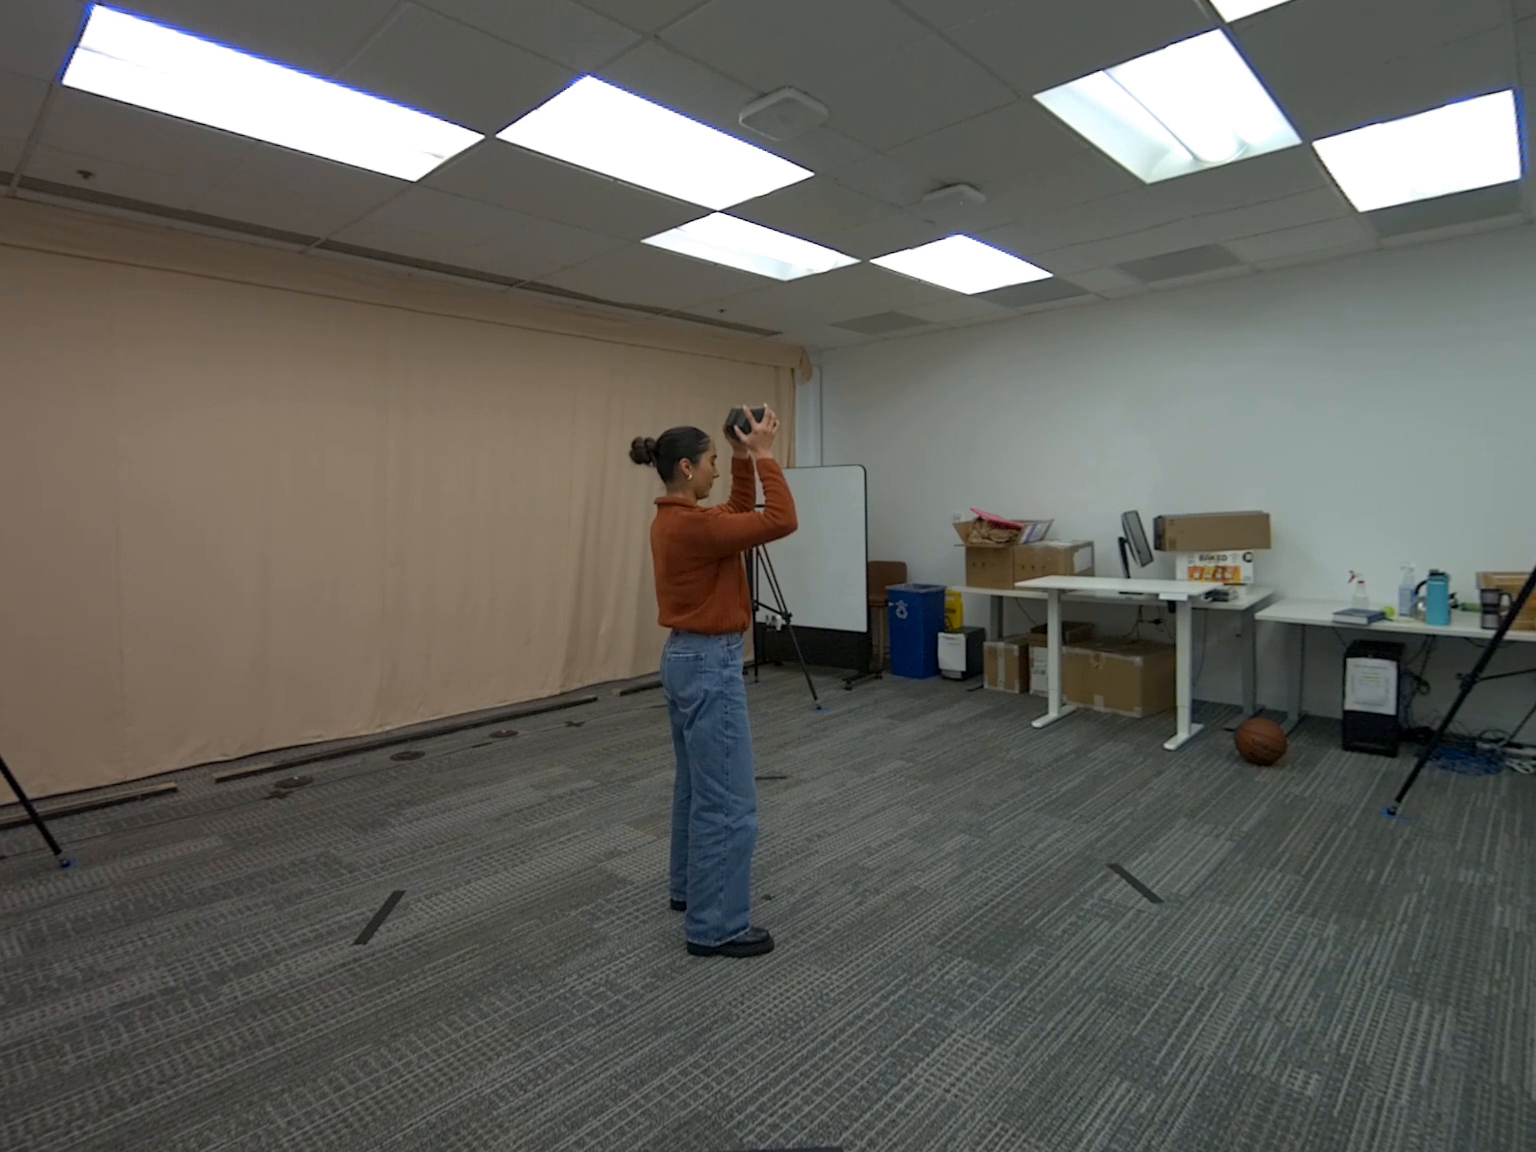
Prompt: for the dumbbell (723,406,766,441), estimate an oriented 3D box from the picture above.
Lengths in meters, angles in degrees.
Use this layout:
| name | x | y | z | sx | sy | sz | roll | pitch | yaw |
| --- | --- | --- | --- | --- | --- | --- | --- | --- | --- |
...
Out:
| name | x | y | z | sx | sy | sz | roll | pitch | yaw |
| --- | --- | --- | --- | --- | --- | --- | --- | --- | --- |
| dumbbell | -0.062 | -0.485 | 2.724 | 0.108 | 0.121 | 0.298 | -38 | 15 | -1 |
